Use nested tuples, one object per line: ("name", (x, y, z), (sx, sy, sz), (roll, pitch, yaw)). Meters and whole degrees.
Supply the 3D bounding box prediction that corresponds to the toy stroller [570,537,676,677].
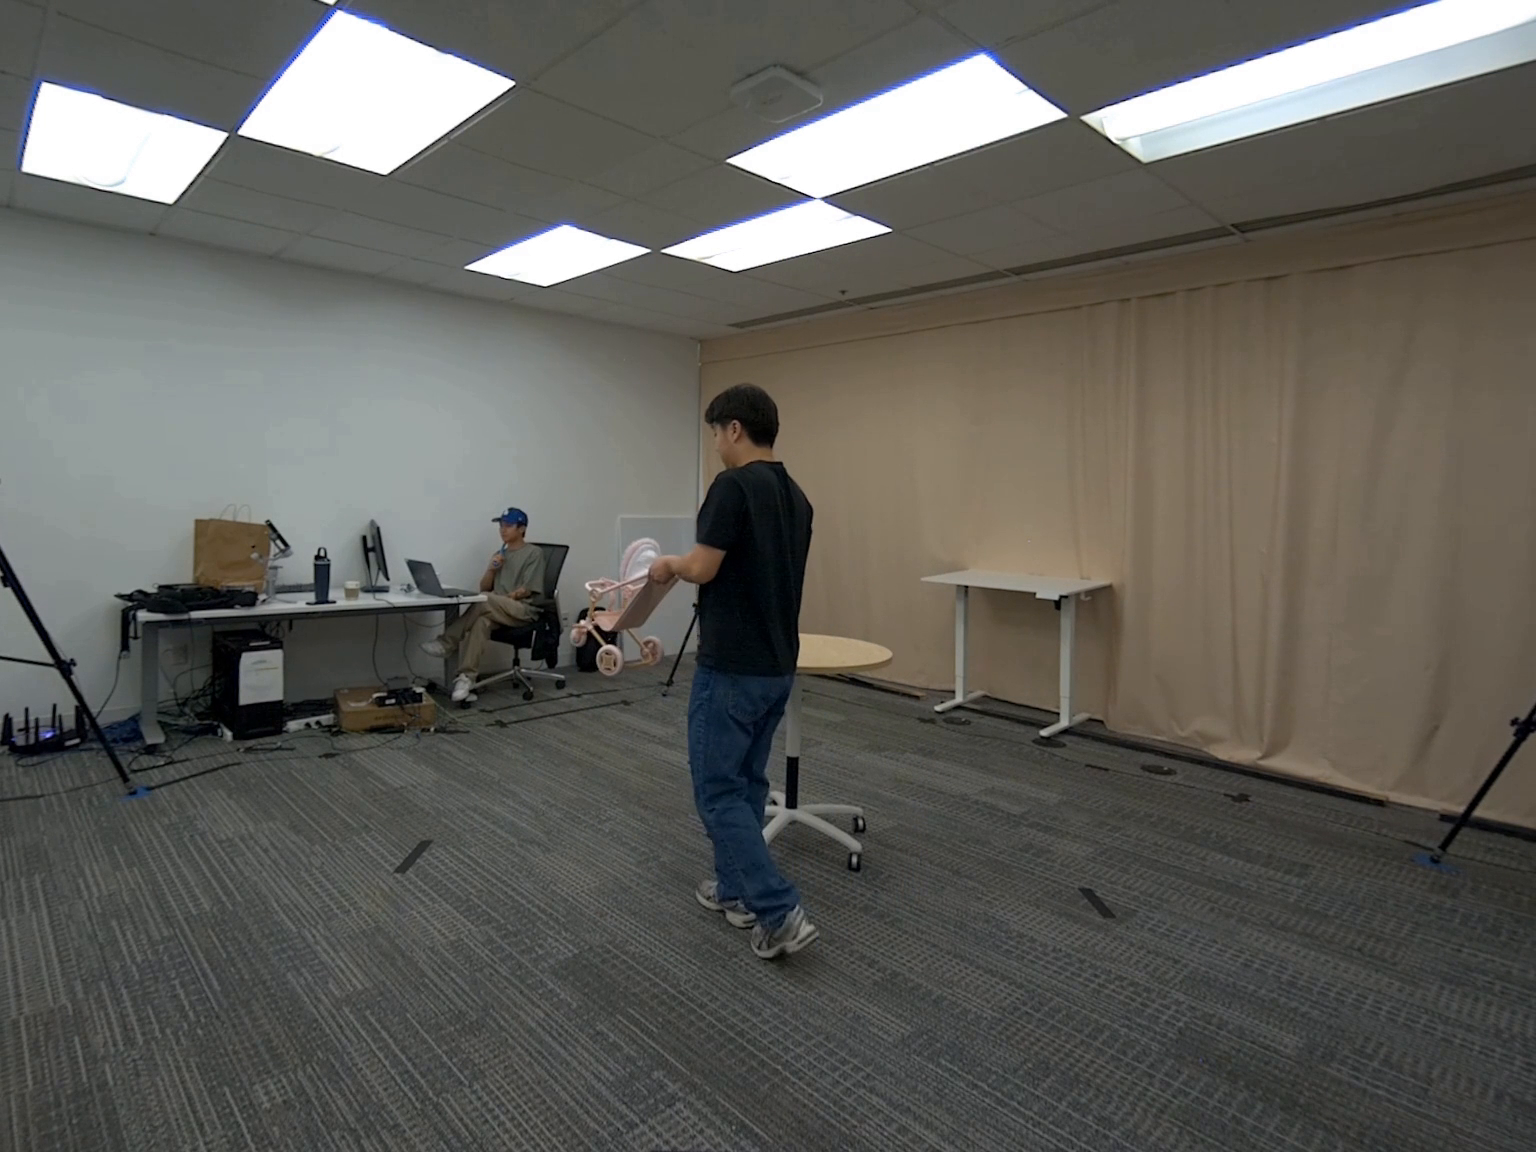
("toy stroller", (-0.498, 0.099, 2.986), (0.350, 0.532, 0.275), (35, 18, 28))
